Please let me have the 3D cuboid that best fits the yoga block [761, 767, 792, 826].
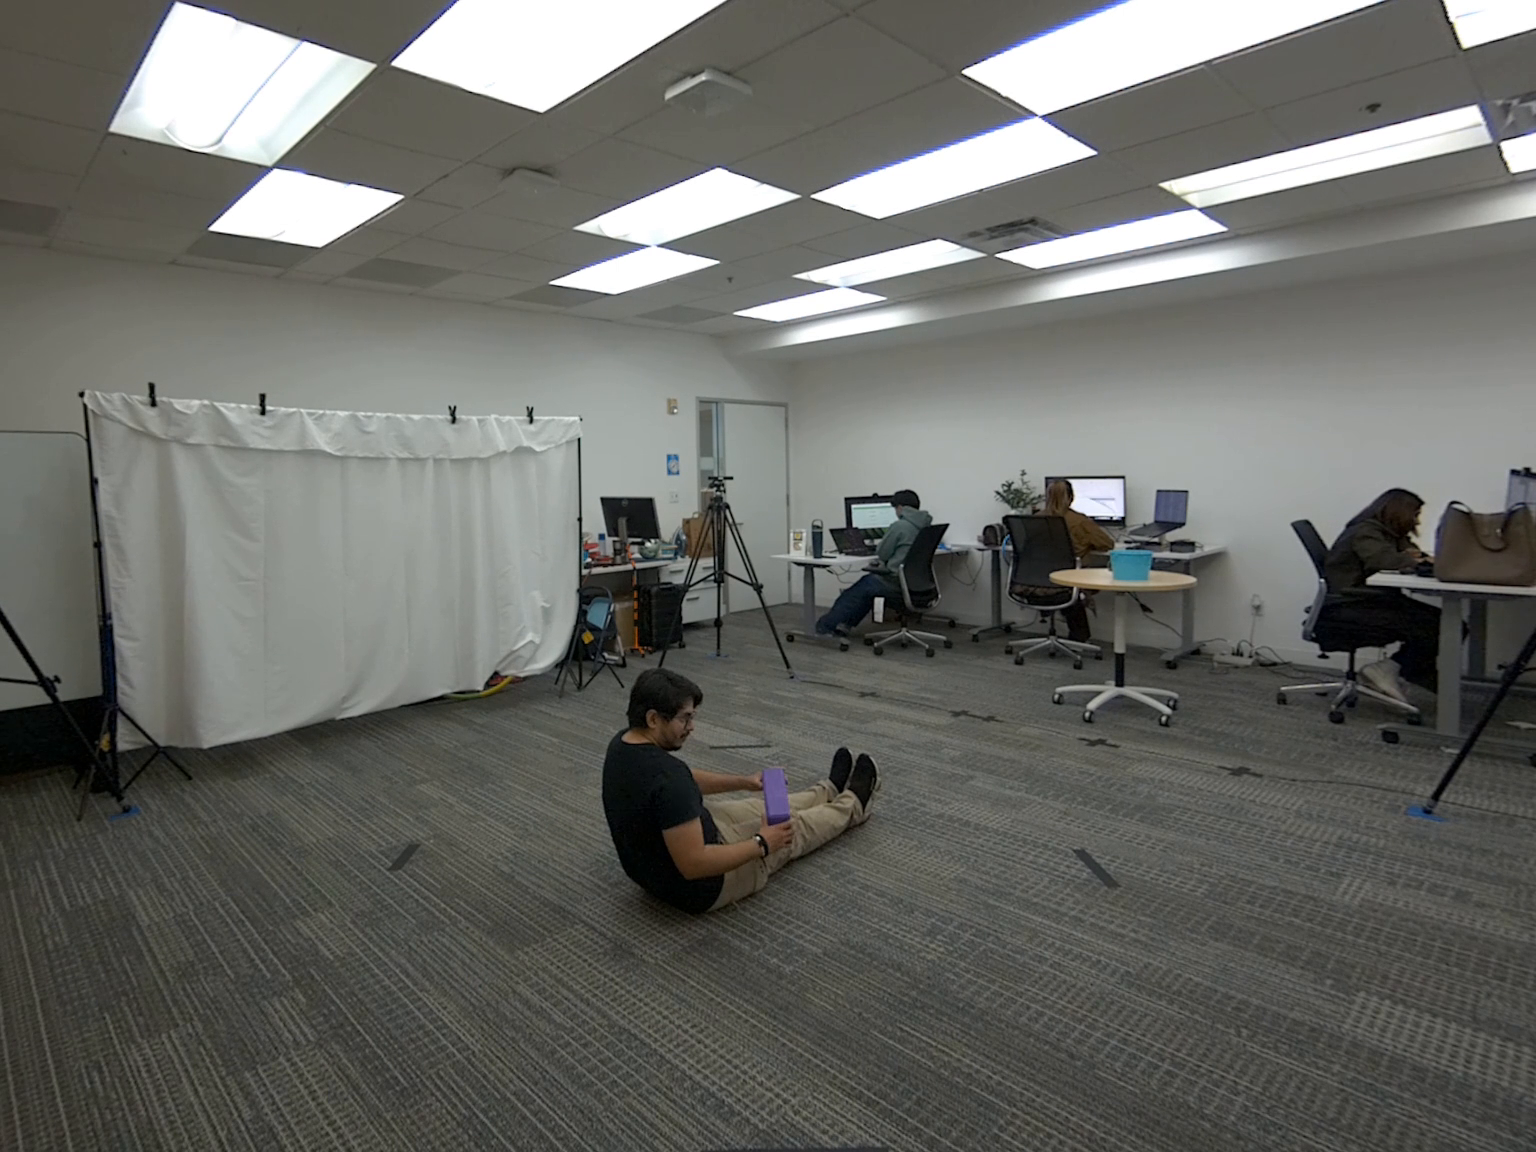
[{"bbox_3d":[0.026,0.775,2.849,0.076,0.145,0.235,-5,28,-1],"label":"yoga block"}]
